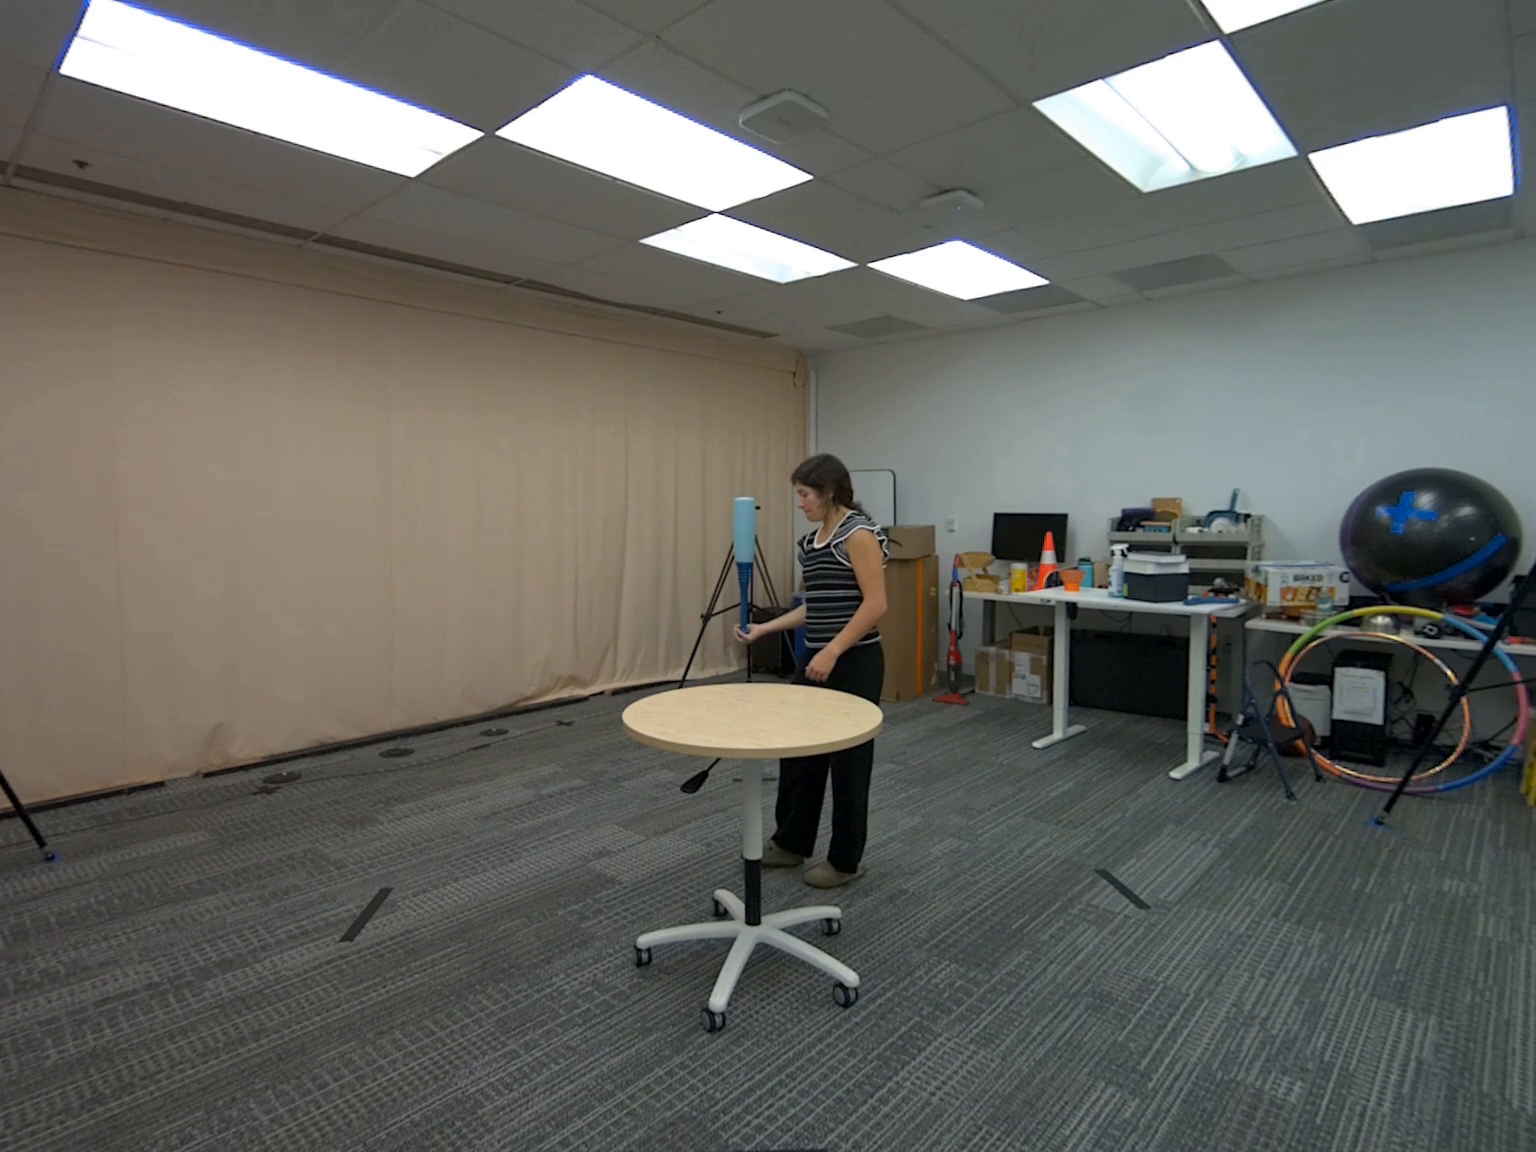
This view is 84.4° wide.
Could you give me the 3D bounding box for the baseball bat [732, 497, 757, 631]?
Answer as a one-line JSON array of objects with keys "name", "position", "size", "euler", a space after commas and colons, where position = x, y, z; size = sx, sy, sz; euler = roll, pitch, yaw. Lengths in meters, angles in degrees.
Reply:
[{"name": "baseball bat", "position": [-0.087, -0.031, 3.284], "size": [0.089, 0.542, 0.089], "euler": [0, 2, -2]}]
